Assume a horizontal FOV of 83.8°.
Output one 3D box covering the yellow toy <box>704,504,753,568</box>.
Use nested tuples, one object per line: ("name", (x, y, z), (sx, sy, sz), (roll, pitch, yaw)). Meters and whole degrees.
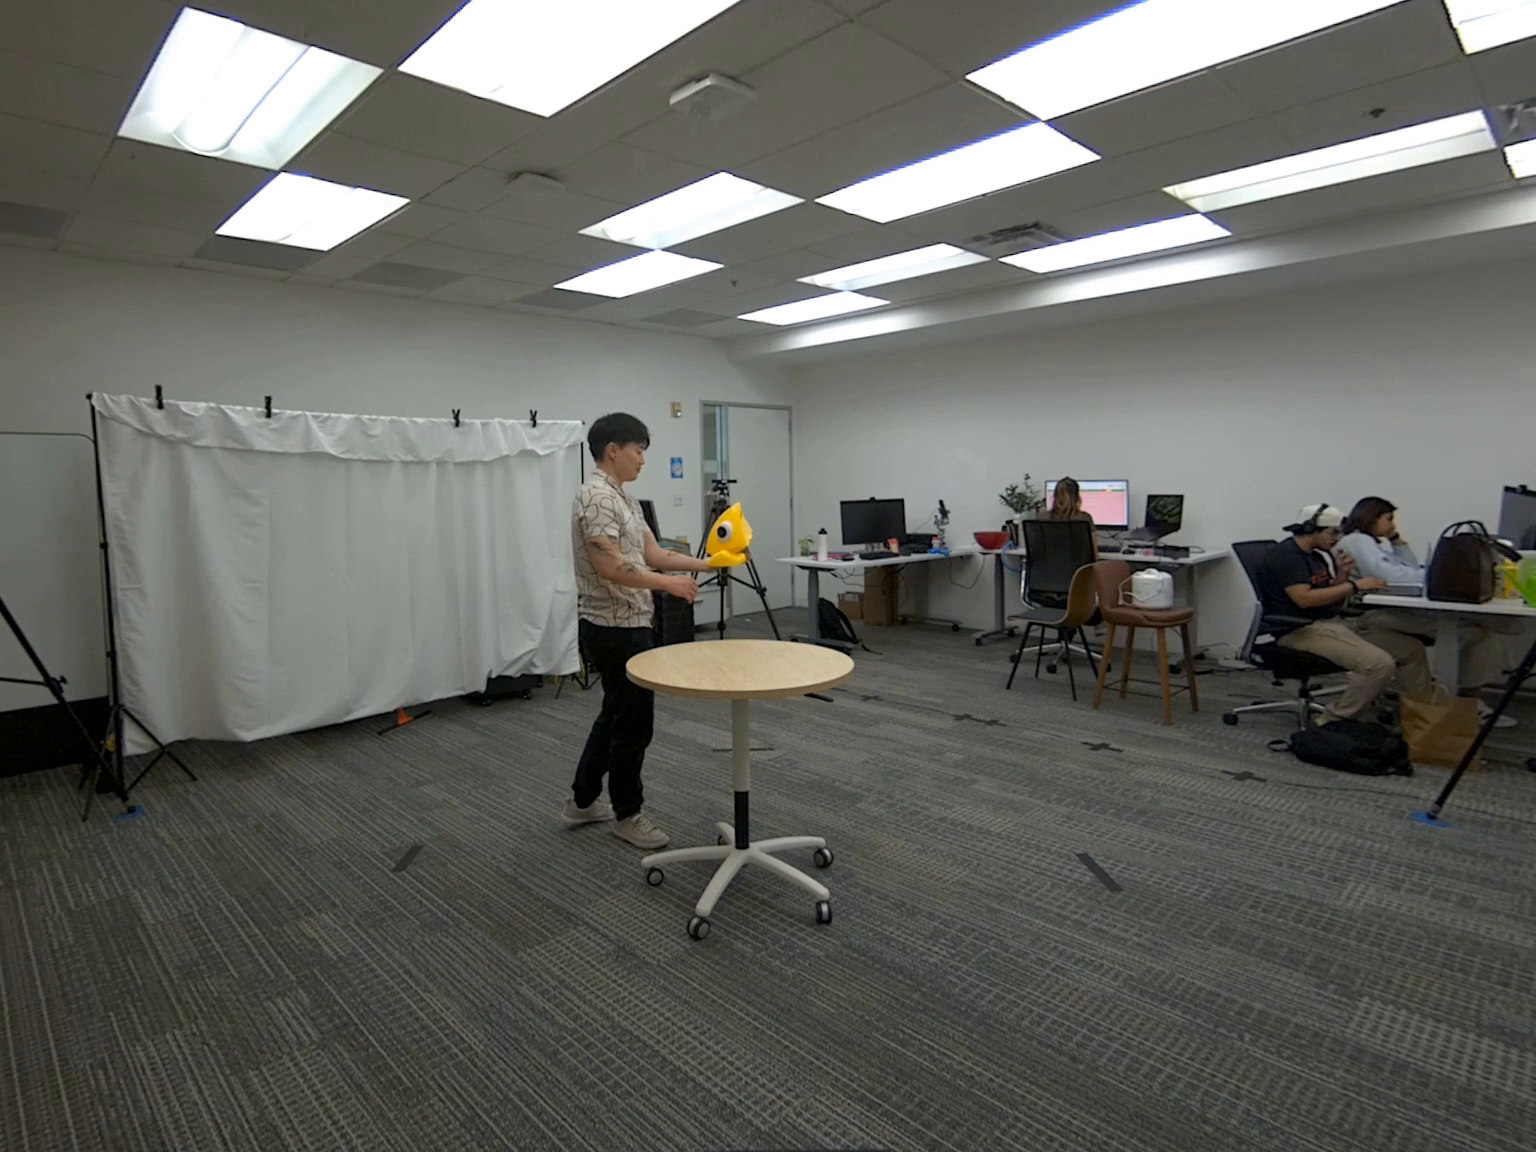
("yellow toy", (-0.170, -0.180, 3.431), (0.194, 0.227, 0.207), (-3, 18, 6))
